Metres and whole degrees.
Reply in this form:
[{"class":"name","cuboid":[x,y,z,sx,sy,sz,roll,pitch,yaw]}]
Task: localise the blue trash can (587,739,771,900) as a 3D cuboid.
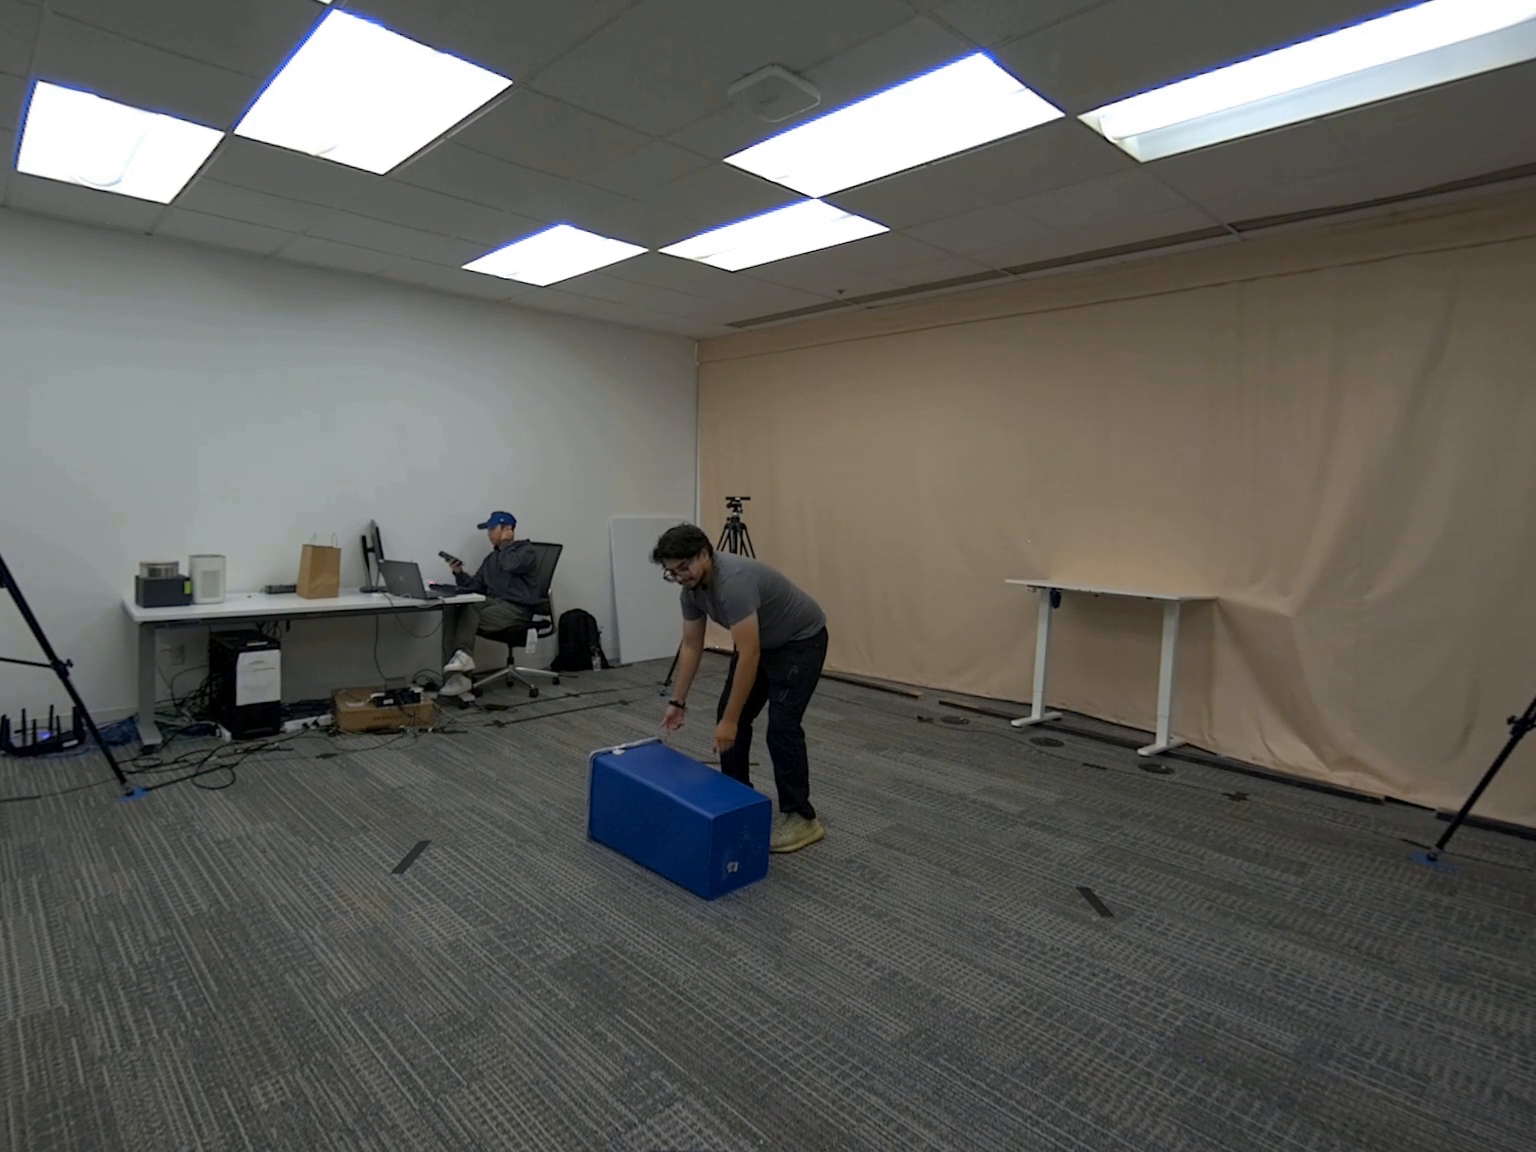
[{"class":"blue trash can","cuboid":[-0.361,0.922,3.231,0.365,0.377,0.732,-1,7,-44]}]
